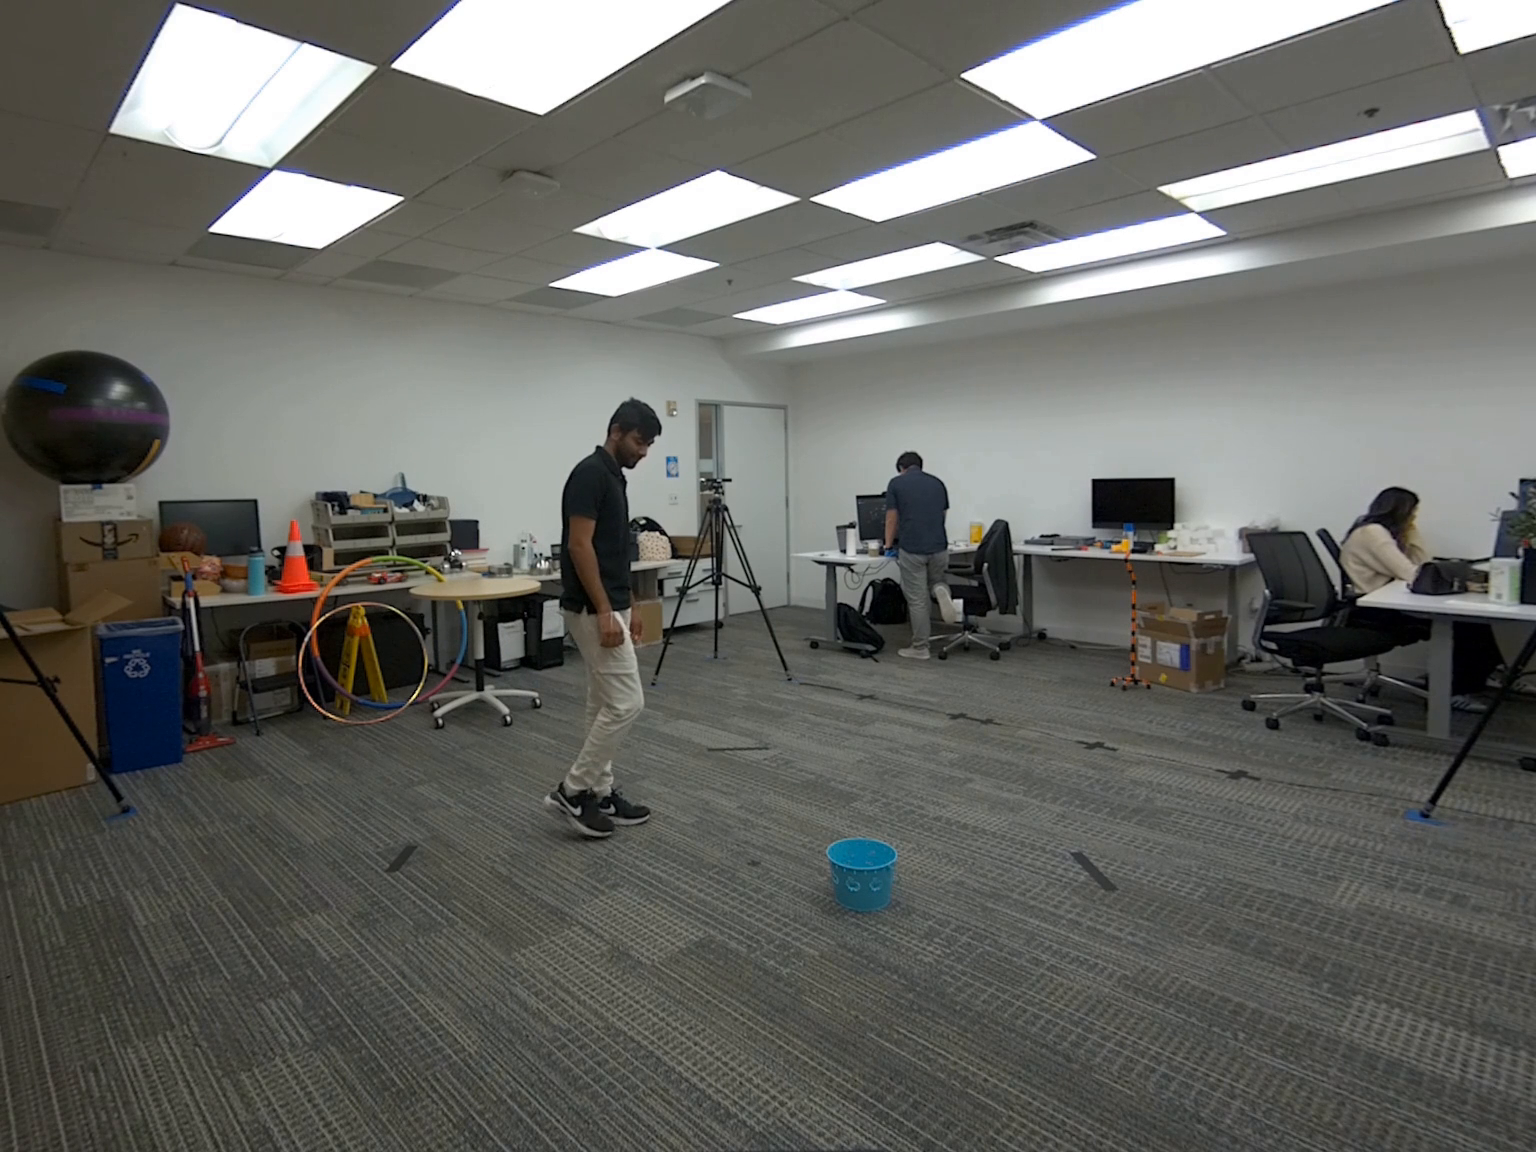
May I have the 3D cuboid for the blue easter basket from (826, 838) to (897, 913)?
[{"bbox_3d":[0.323,0.988,2.836,0.243,0.155,0.245,-1,6,-2],"label":"blue easter basket"}]
